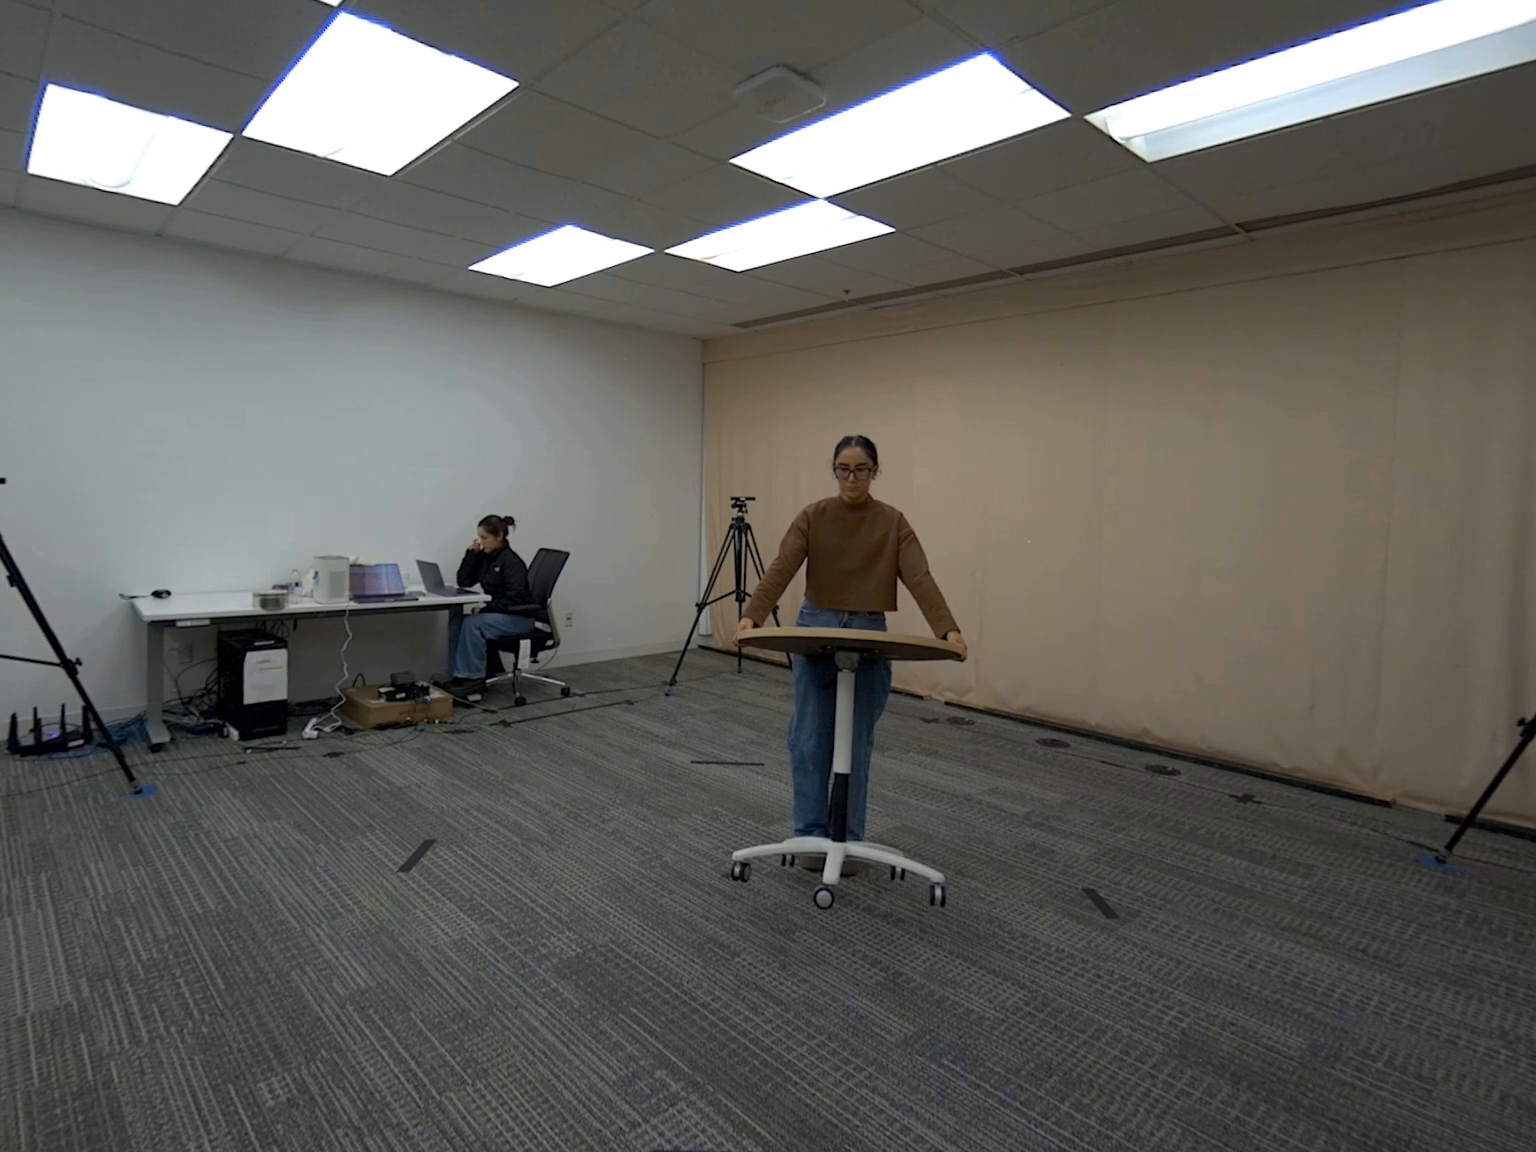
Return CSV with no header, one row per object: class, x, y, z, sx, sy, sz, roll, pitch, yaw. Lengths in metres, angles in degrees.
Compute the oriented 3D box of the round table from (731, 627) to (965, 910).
round table,0.250,0.625,2.805,0.785,0.792,0.779,4,-10,-1
